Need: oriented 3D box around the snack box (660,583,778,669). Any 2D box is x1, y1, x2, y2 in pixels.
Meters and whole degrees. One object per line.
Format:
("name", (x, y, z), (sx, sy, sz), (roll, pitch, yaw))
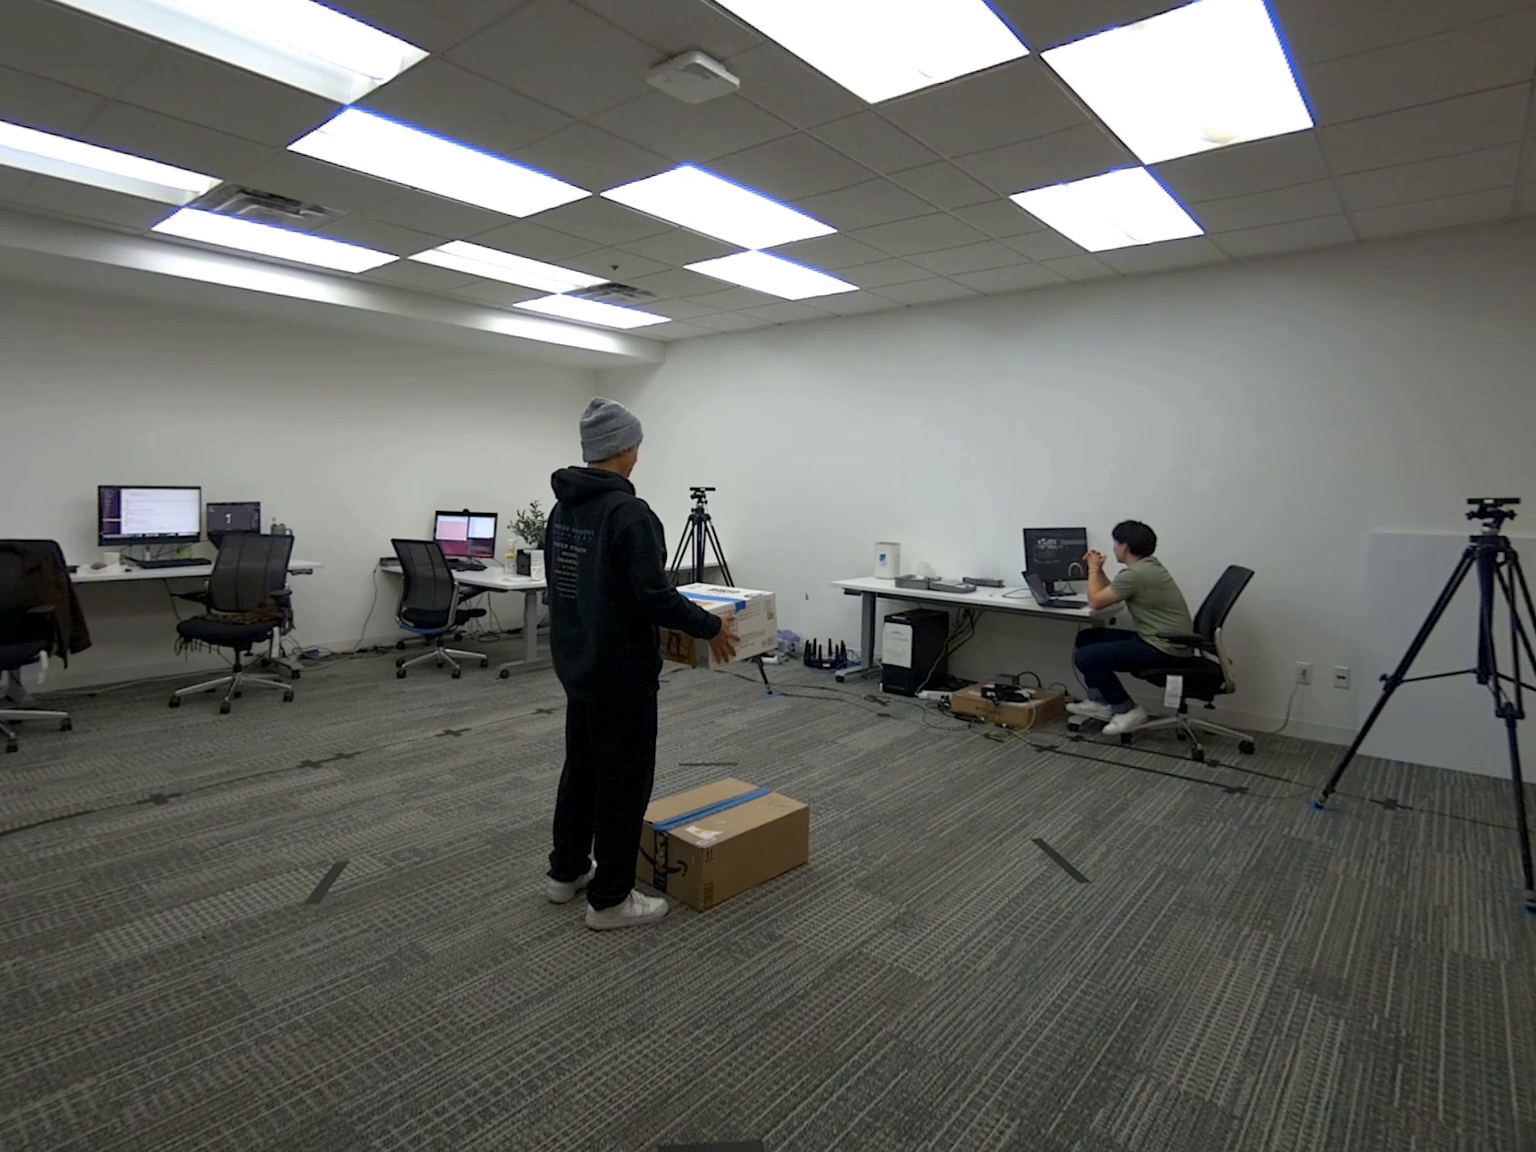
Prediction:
("snack box", (-0.241, 0.166, 3.034), (0.419, 0.204, 0.332), (5, 13, 44))
